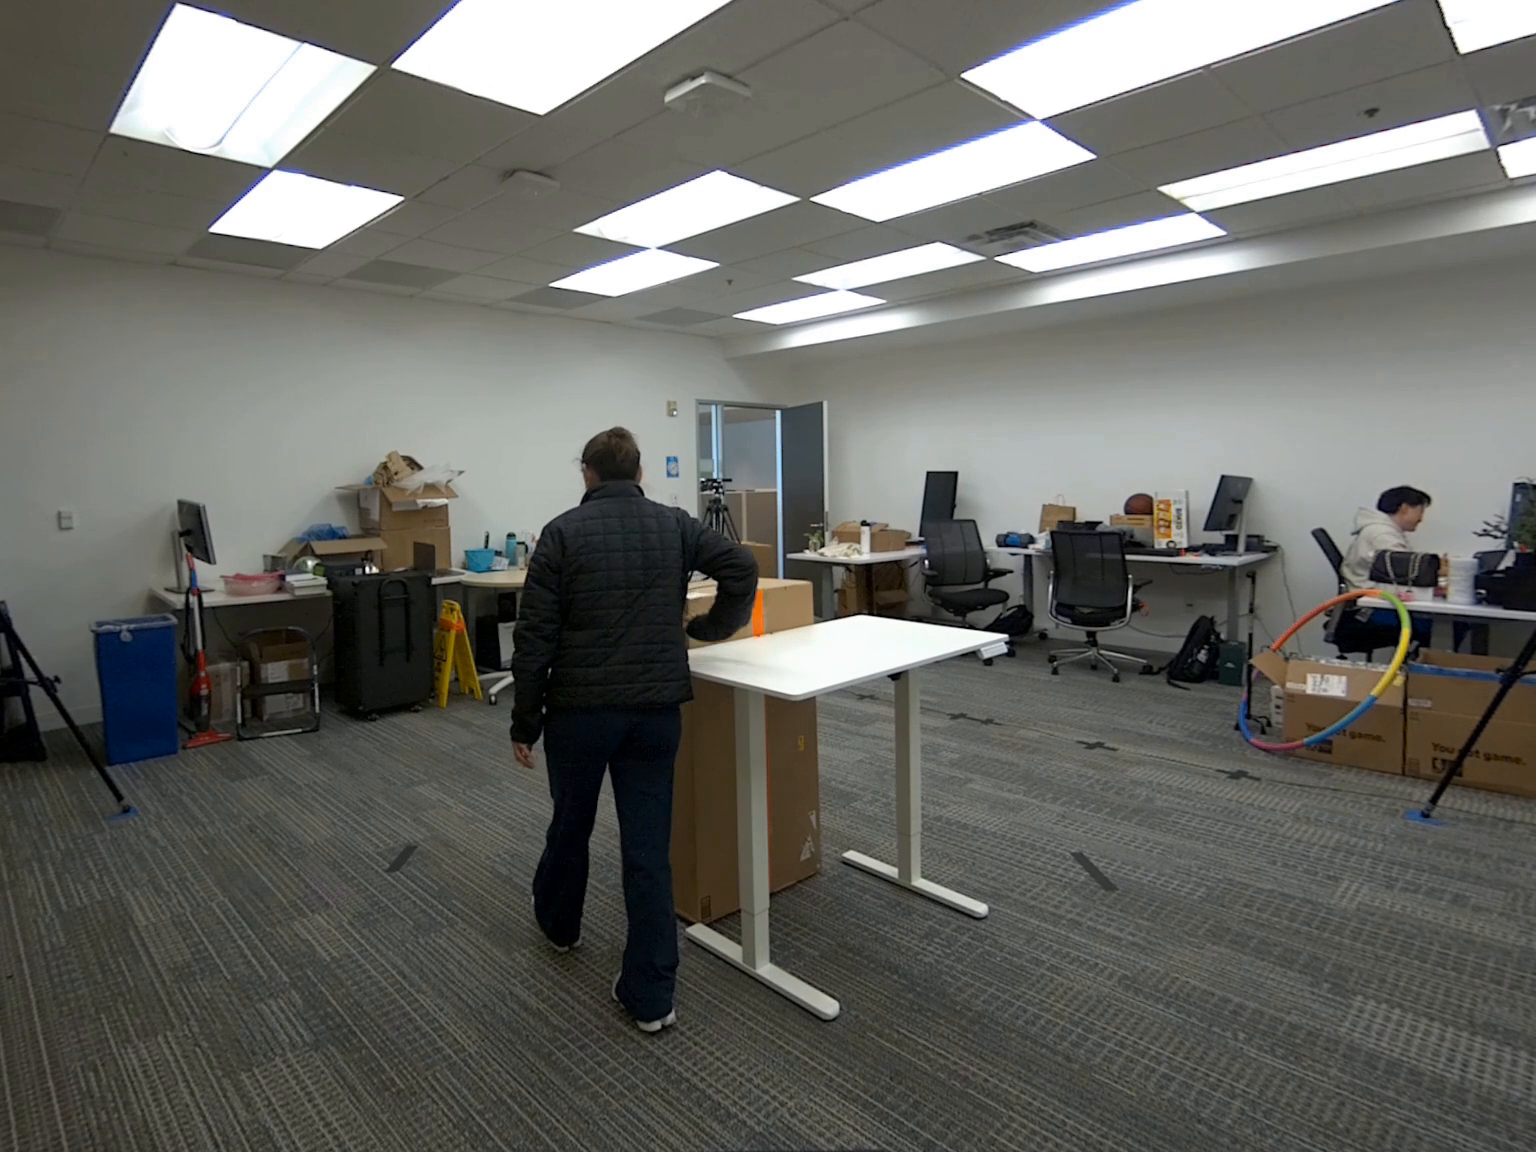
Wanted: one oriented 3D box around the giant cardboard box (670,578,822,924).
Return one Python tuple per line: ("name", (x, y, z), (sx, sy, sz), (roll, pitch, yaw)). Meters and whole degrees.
("giant cardboard box", (-0.173, 0.544, 2.985), (0.568, 1.025, 0.460), (-4, 3, -43))
